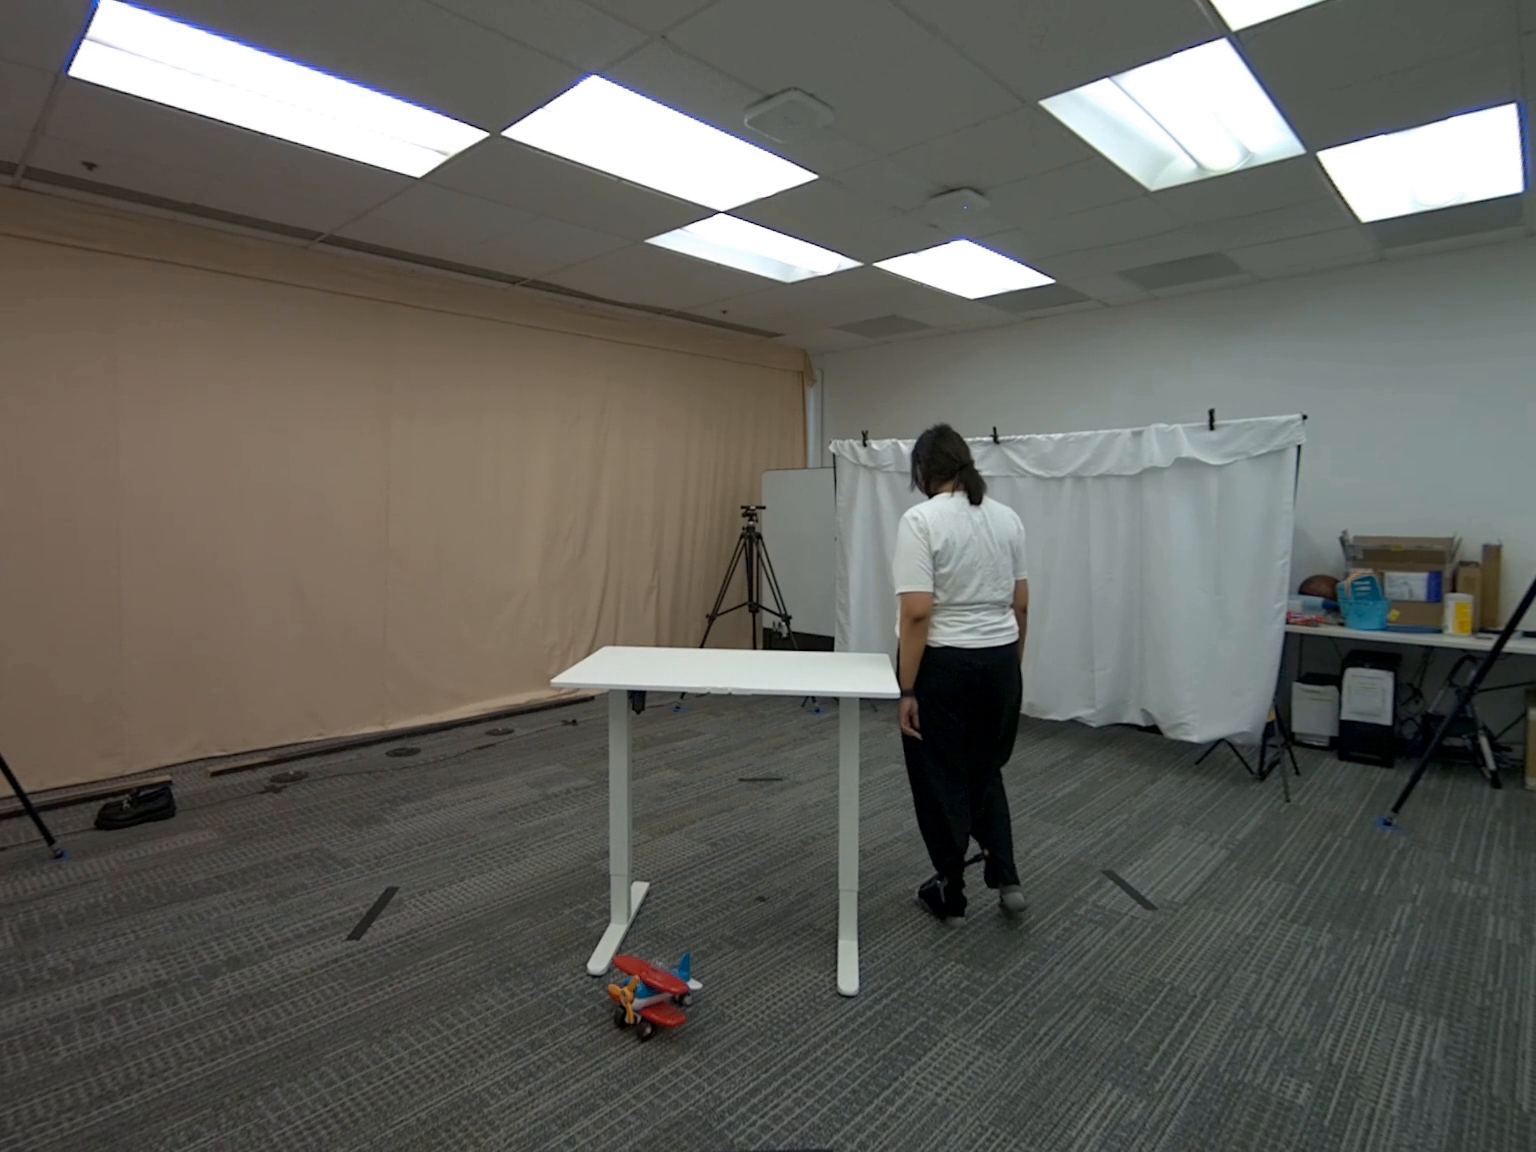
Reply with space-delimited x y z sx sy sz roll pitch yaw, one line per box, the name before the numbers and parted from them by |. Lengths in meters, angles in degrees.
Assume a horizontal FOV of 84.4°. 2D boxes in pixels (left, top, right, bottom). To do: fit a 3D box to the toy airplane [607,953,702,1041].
toy airplane | -0.314 1.131 2.291 0.254 0.156 0.257 0 6 11
